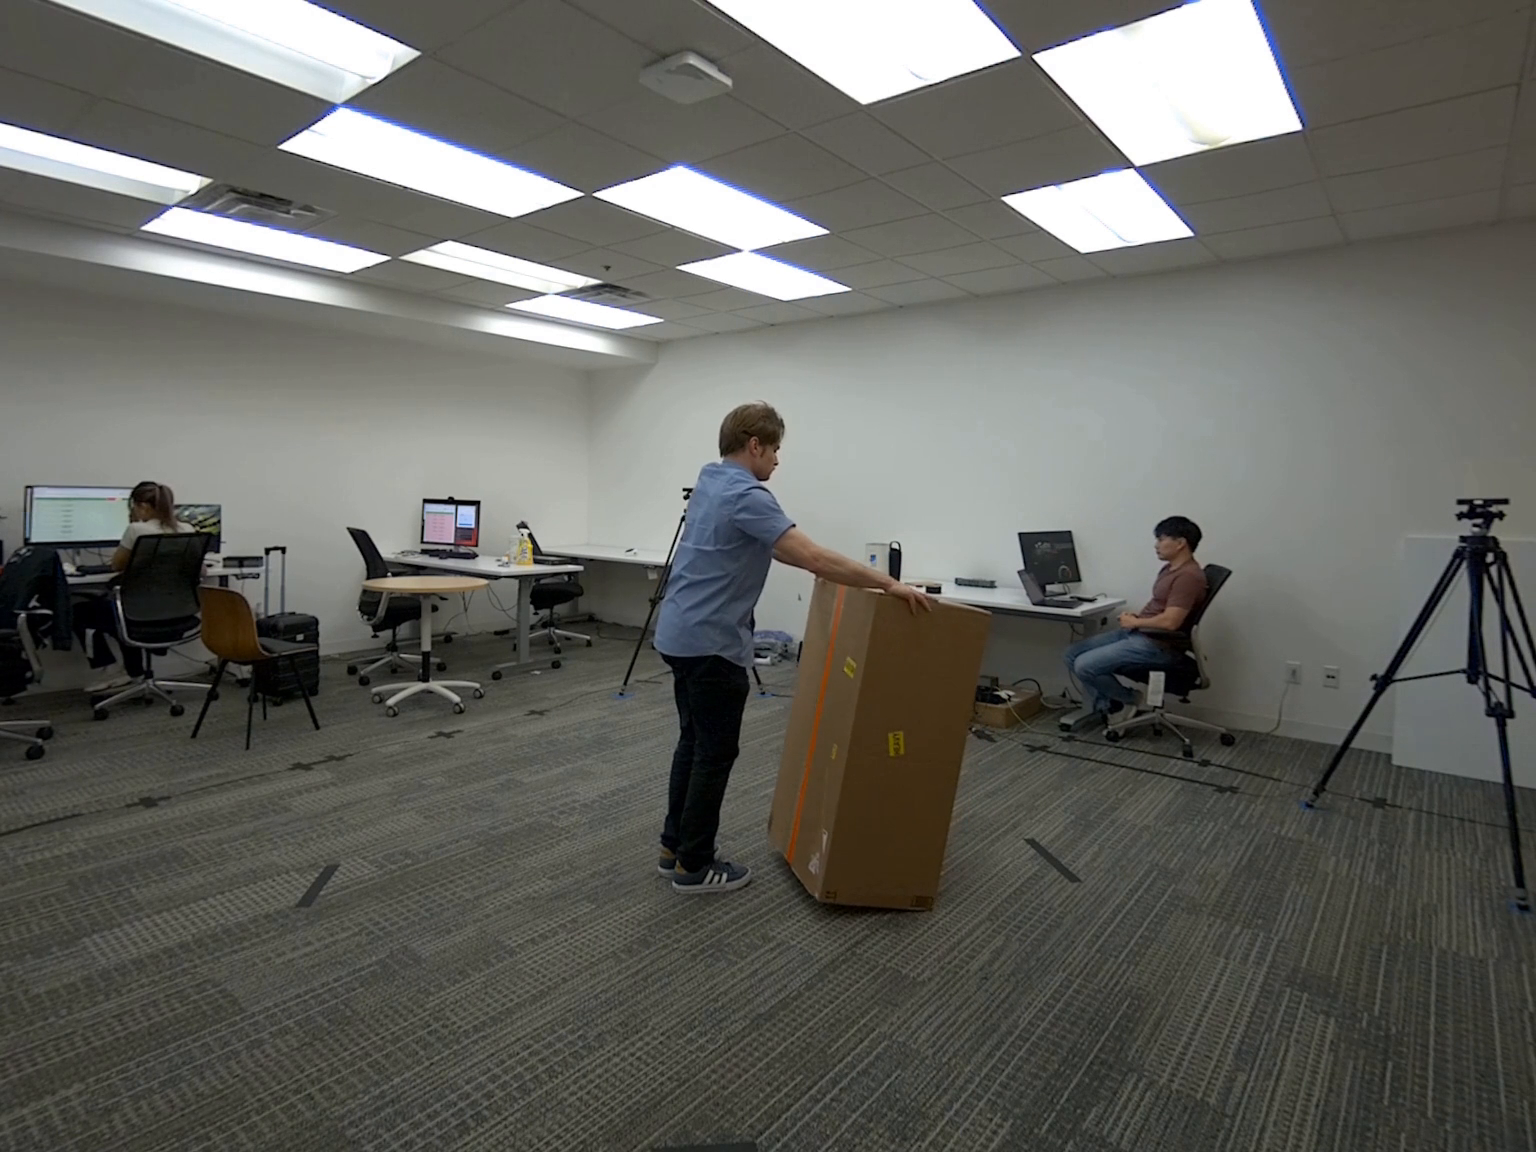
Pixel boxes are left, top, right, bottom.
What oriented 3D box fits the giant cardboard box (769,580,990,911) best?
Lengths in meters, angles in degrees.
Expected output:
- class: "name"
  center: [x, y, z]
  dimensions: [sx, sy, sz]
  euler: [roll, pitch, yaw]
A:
- class: "giant cardboard box"
  center: [0.371, 0.558, 3.051]
  dimensions: [0.438, 1.026, 0.596]
  euler: [9, 1, -18]
